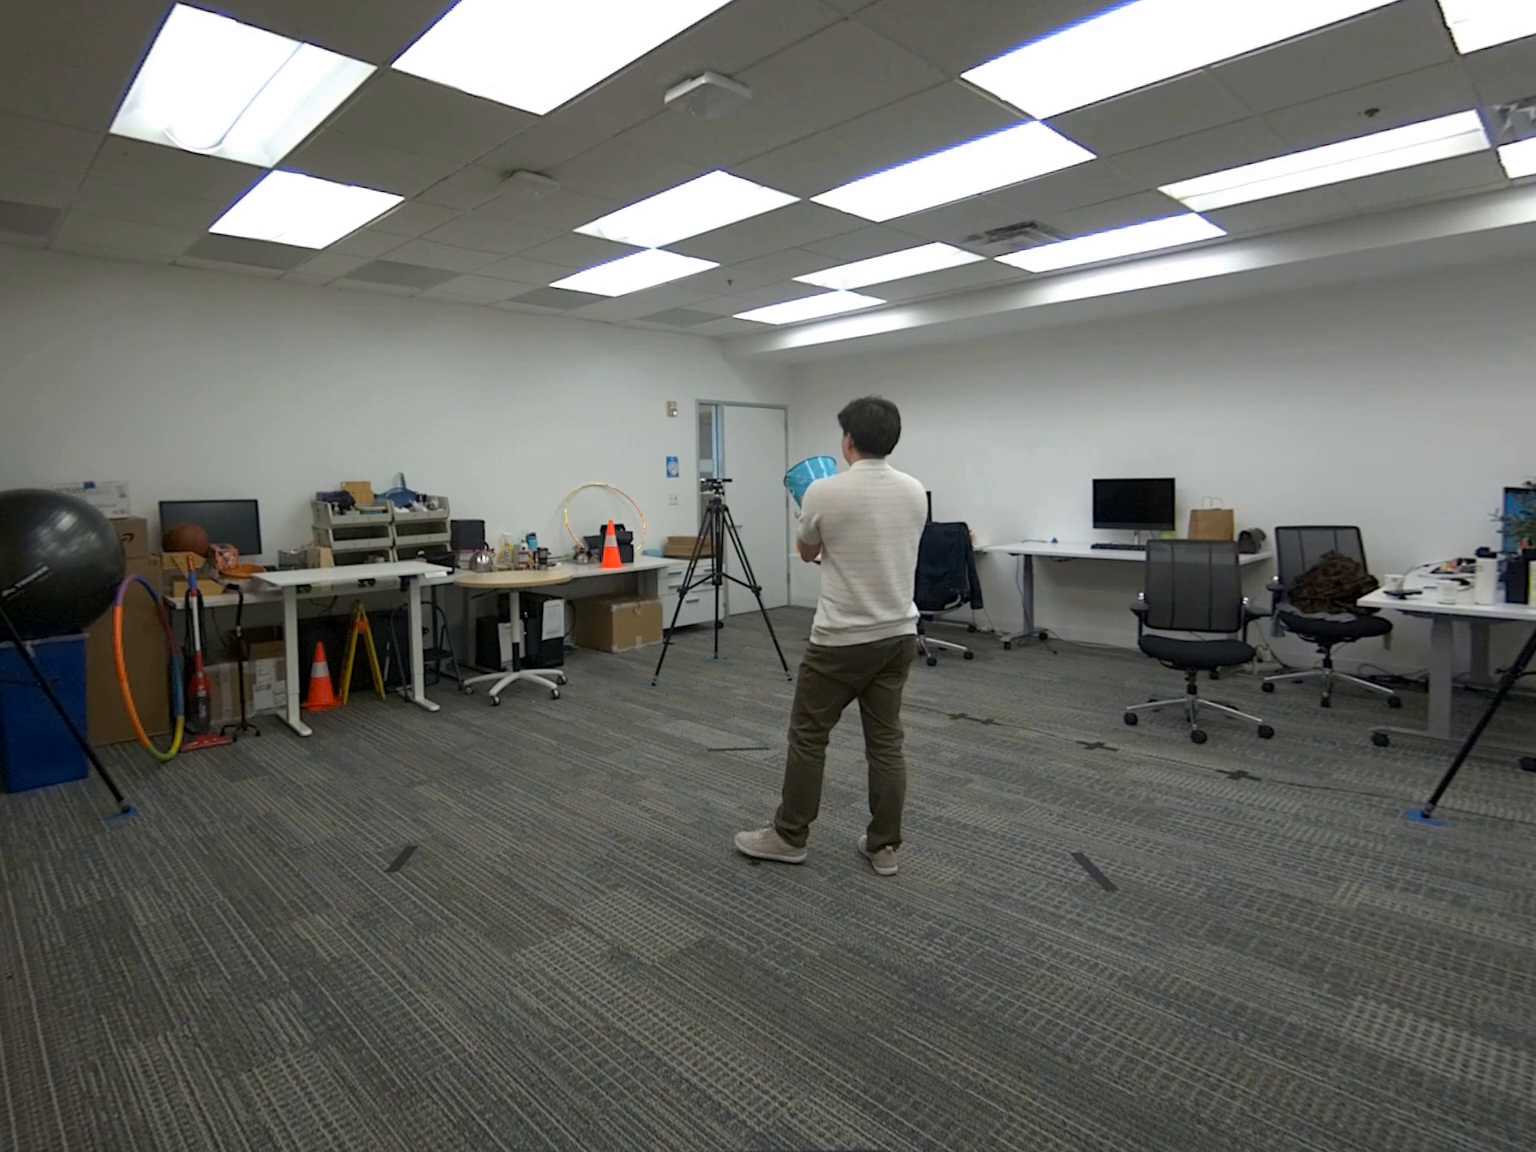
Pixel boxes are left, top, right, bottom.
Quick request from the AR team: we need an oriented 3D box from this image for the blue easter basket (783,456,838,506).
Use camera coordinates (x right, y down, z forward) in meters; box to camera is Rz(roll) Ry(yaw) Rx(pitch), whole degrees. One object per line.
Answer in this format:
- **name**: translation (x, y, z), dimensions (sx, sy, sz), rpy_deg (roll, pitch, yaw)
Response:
- **blue easter basket**: translation (0.193, -0.364, 3.498), dimensions (0.242, 0.160, 0.238), rpy_deg (-17, -24, -10)
